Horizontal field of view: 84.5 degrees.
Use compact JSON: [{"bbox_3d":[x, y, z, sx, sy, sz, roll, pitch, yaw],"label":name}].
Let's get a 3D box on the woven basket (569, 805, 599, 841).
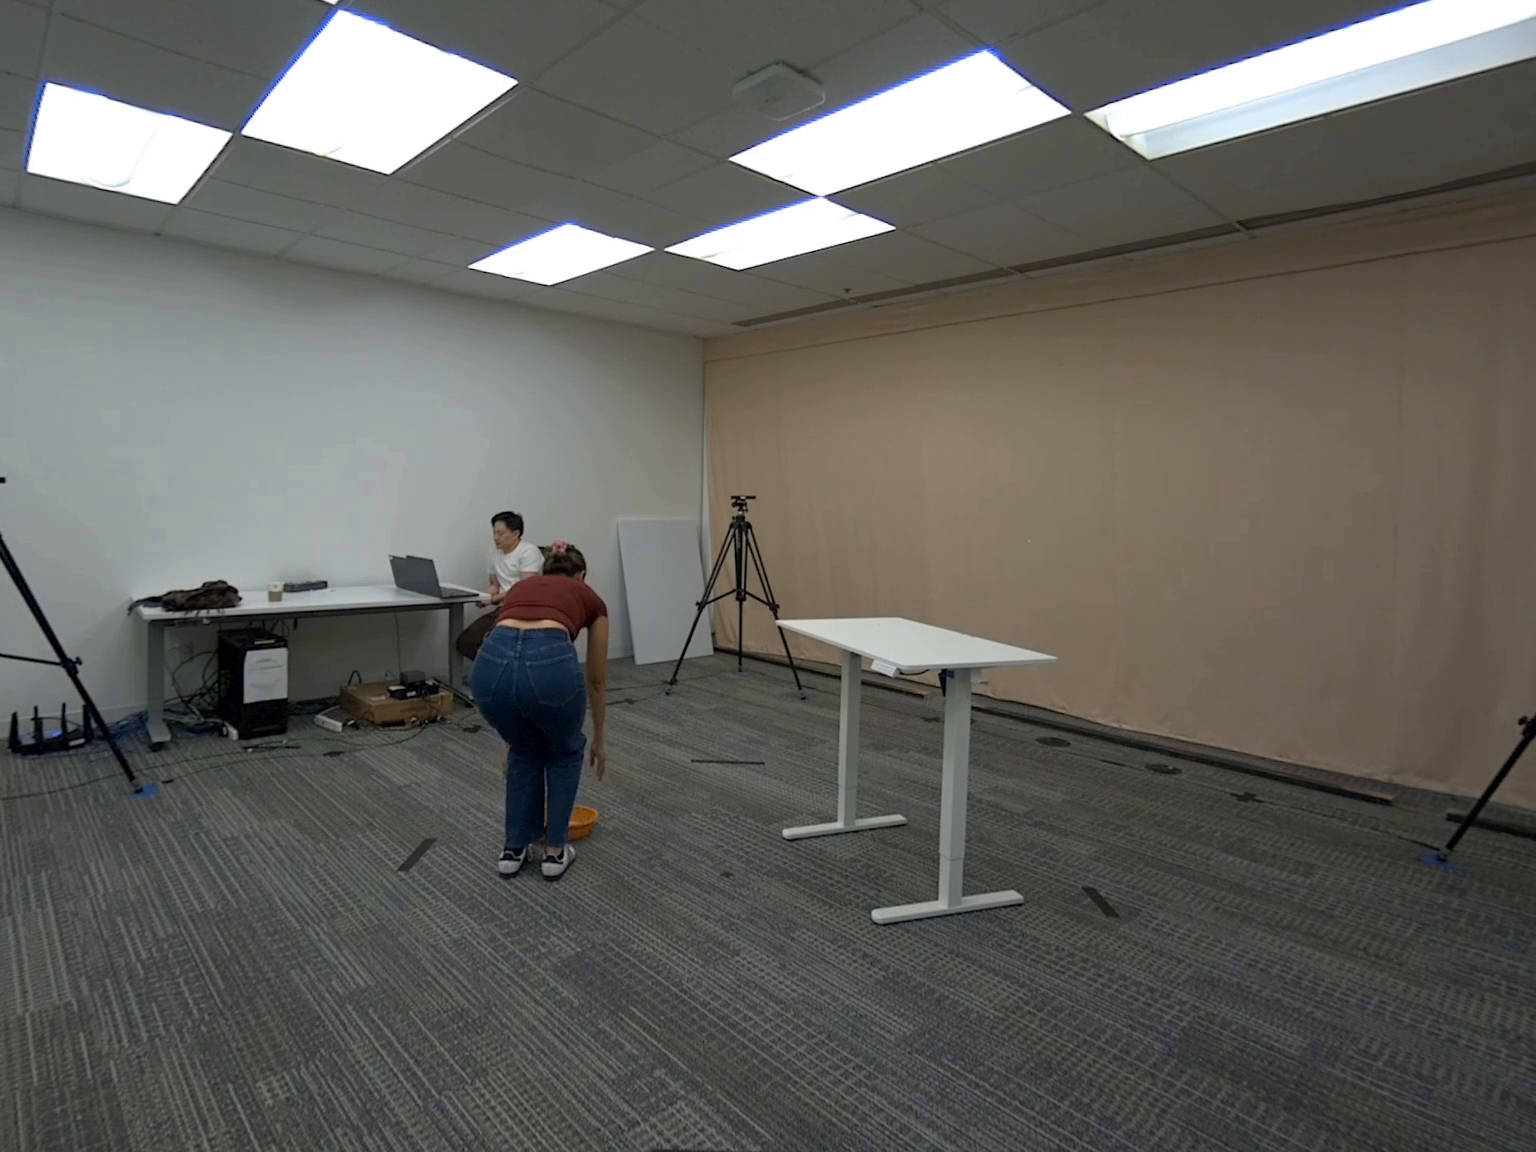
[{"bbox_3d":[-0.878,1.019,3.448,0.346,0.073,0.256,0,5,-15],"label":"woven basket"}]
